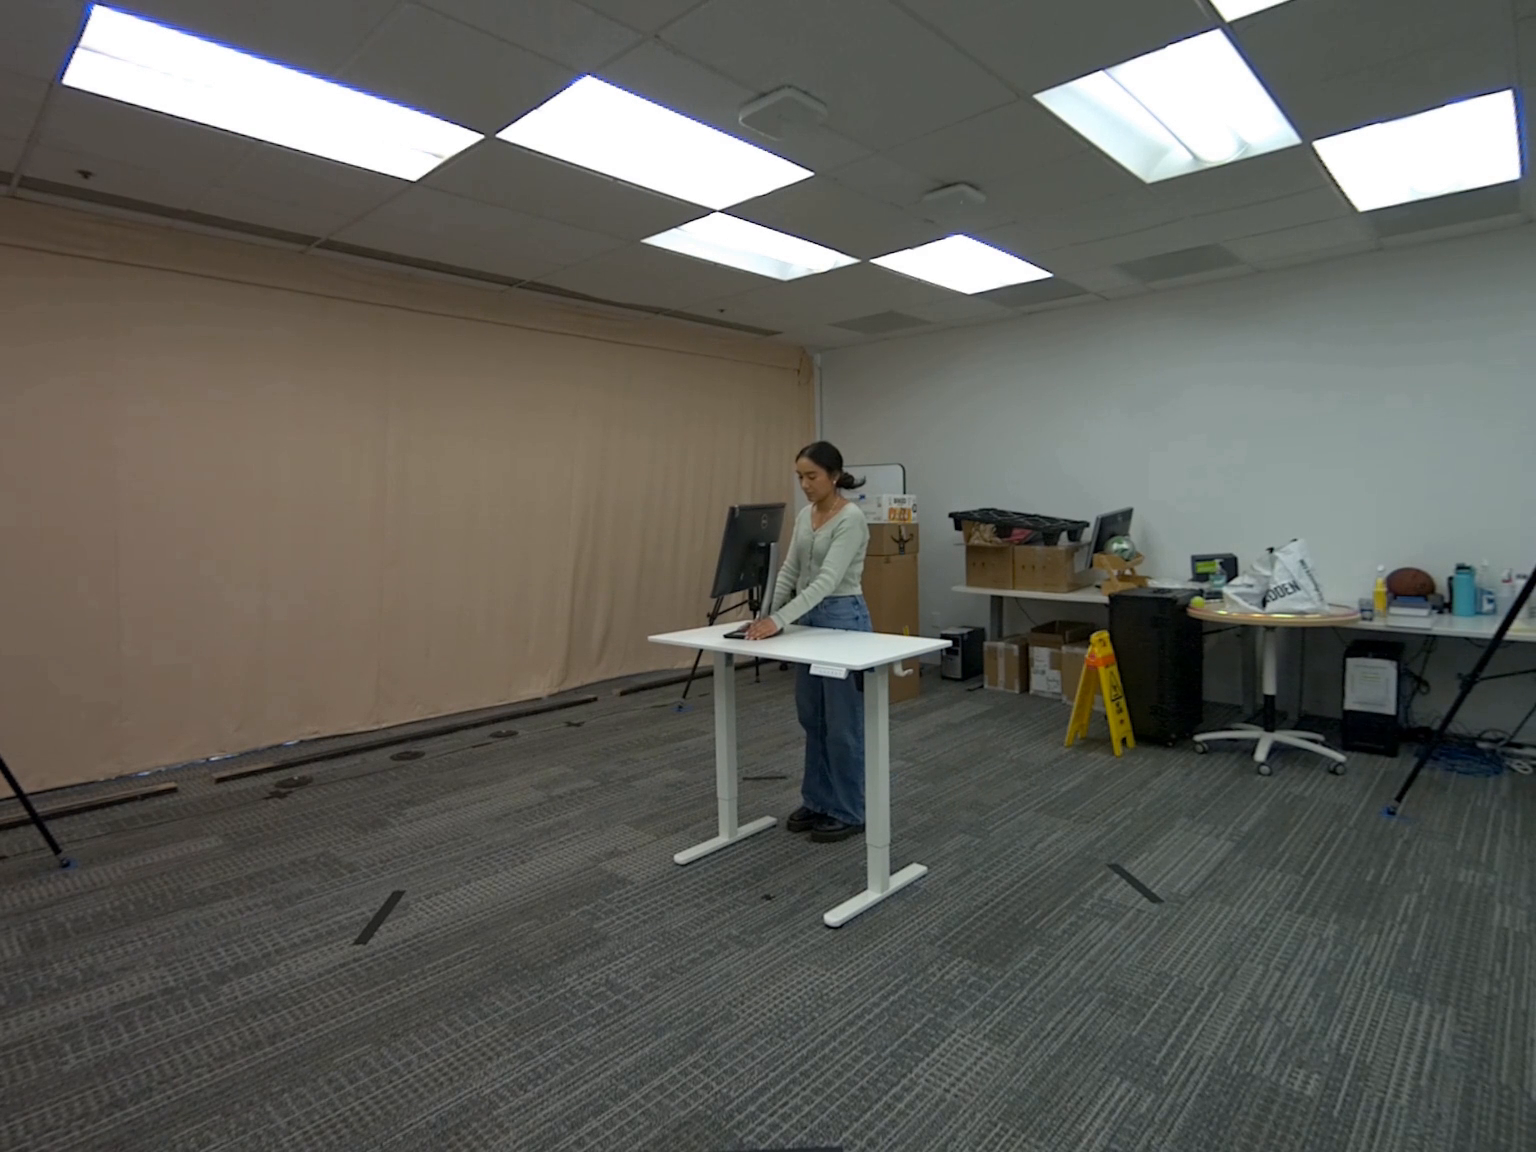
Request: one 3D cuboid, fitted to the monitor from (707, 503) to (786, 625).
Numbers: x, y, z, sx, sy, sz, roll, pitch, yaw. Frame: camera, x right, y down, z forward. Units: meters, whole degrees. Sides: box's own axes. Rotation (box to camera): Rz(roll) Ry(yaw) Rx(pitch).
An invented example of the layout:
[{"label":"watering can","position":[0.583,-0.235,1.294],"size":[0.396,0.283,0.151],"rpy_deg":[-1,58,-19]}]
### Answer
[{"label":"monitor","position":[-0.041,-0.025,3.312],"size":[0.178,0.515,0.519],"rpy_deg":[-3,4,22]}]
